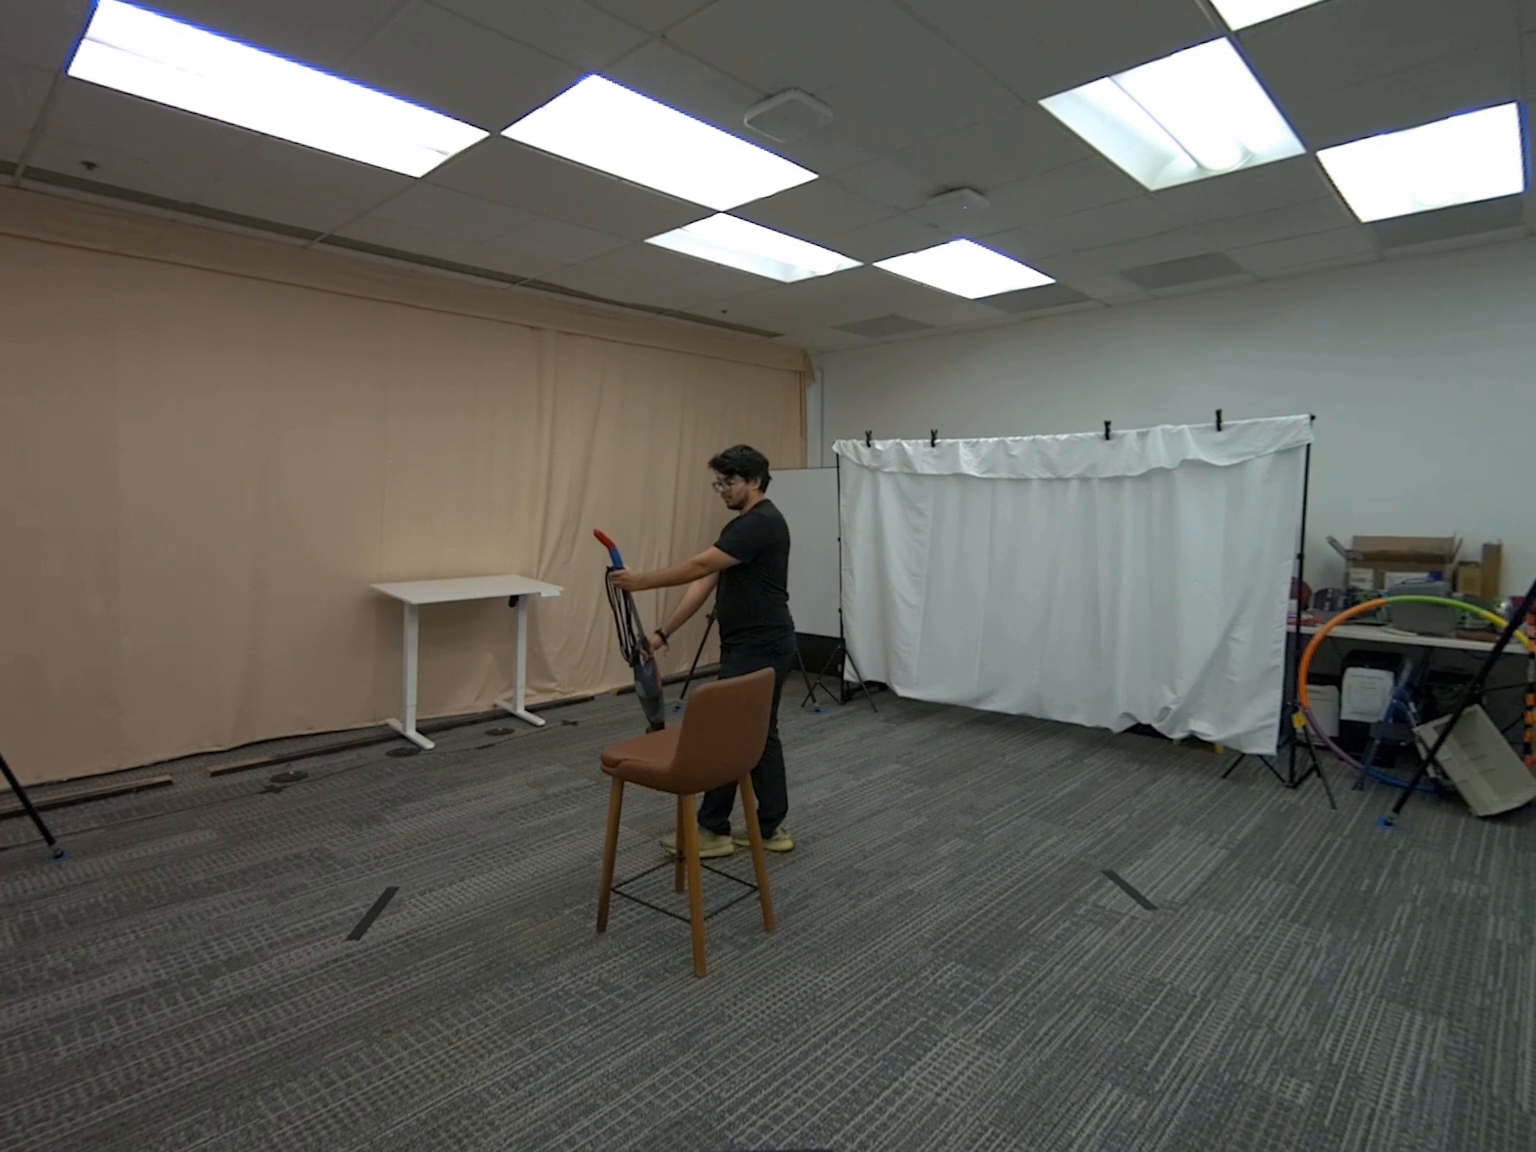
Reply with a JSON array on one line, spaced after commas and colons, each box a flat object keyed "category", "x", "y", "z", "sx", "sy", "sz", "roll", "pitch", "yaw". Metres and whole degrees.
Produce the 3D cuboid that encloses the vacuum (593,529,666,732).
[{"category": "vacuum", "x": -0.540, "y": 0.267, "z": 3.411, "sx": 0.261, "sy": 1.026, "sz": 0.142, "roll": 14, "pitch": 39, "yaw": 38}]
